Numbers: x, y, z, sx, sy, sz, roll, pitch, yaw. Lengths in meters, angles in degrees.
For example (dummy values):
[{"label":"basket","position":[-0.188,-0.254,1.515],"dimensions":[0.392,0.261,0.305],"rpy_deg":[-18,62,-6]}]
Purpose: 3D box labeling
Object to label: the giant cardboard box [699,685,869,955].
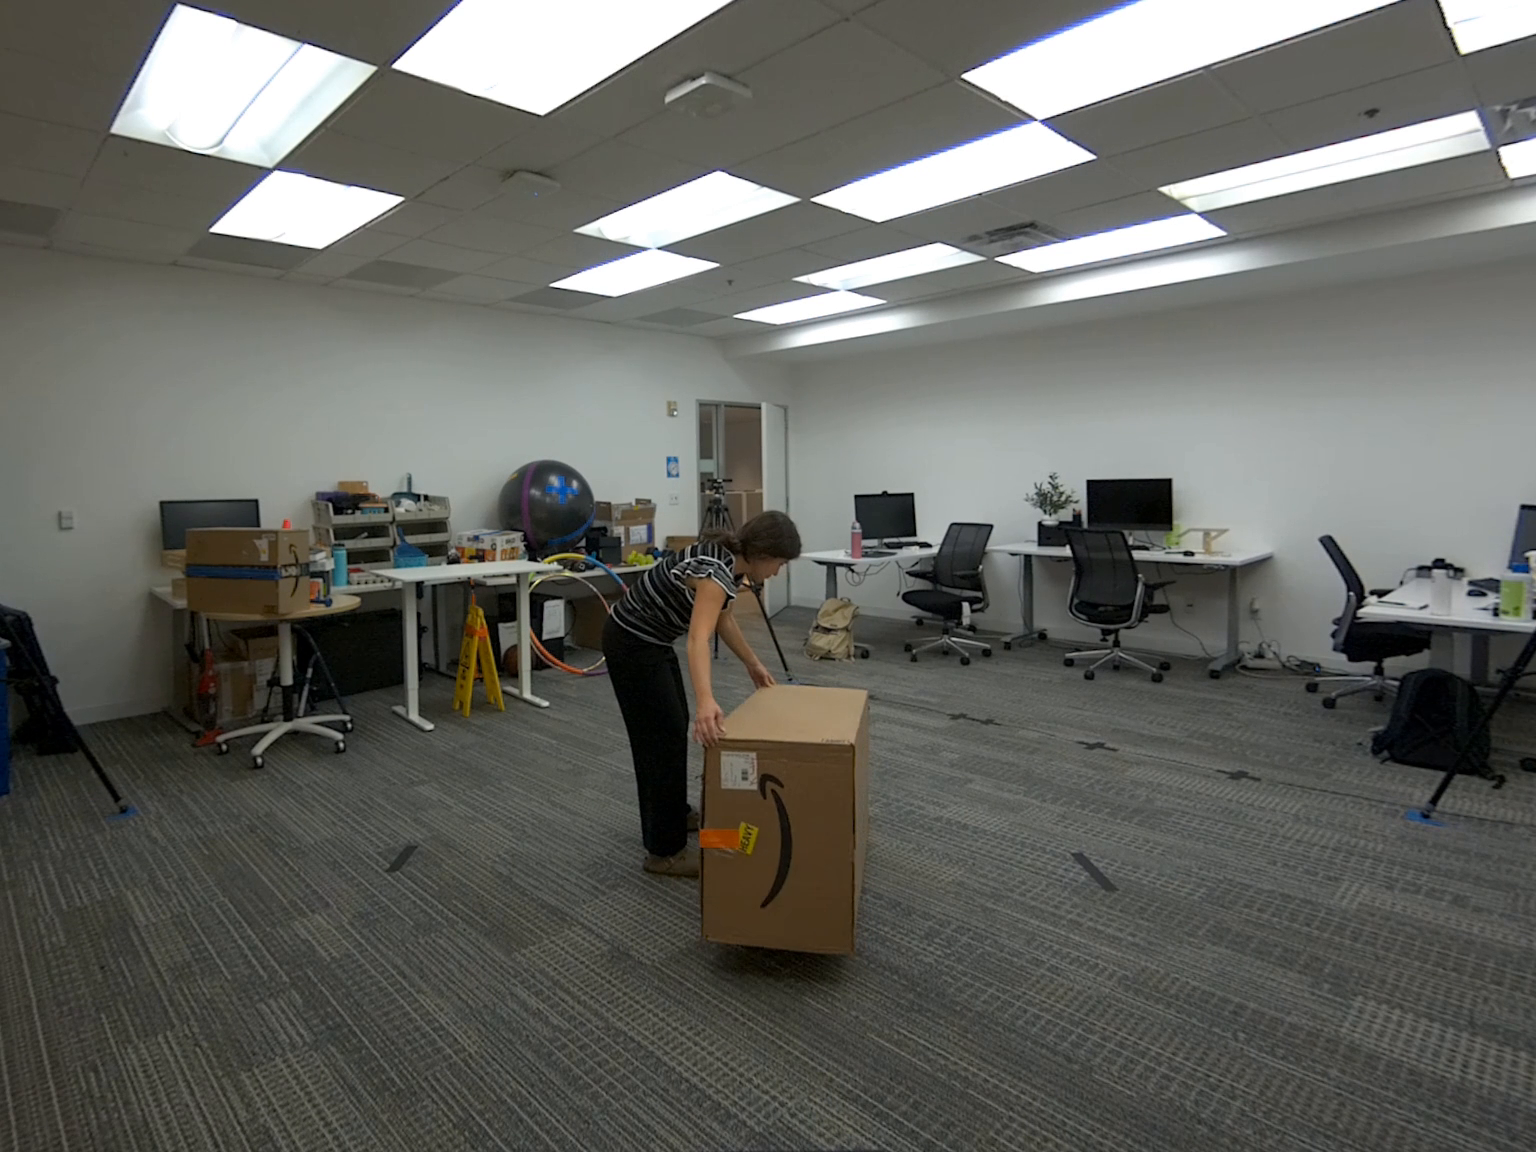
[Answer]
[{"label":"giant cardboard box","position":[0.097,0.727,2.861],"dimensions":[0.430,0.578,1.015],"rpy_deg":[-1,0,9]}]
